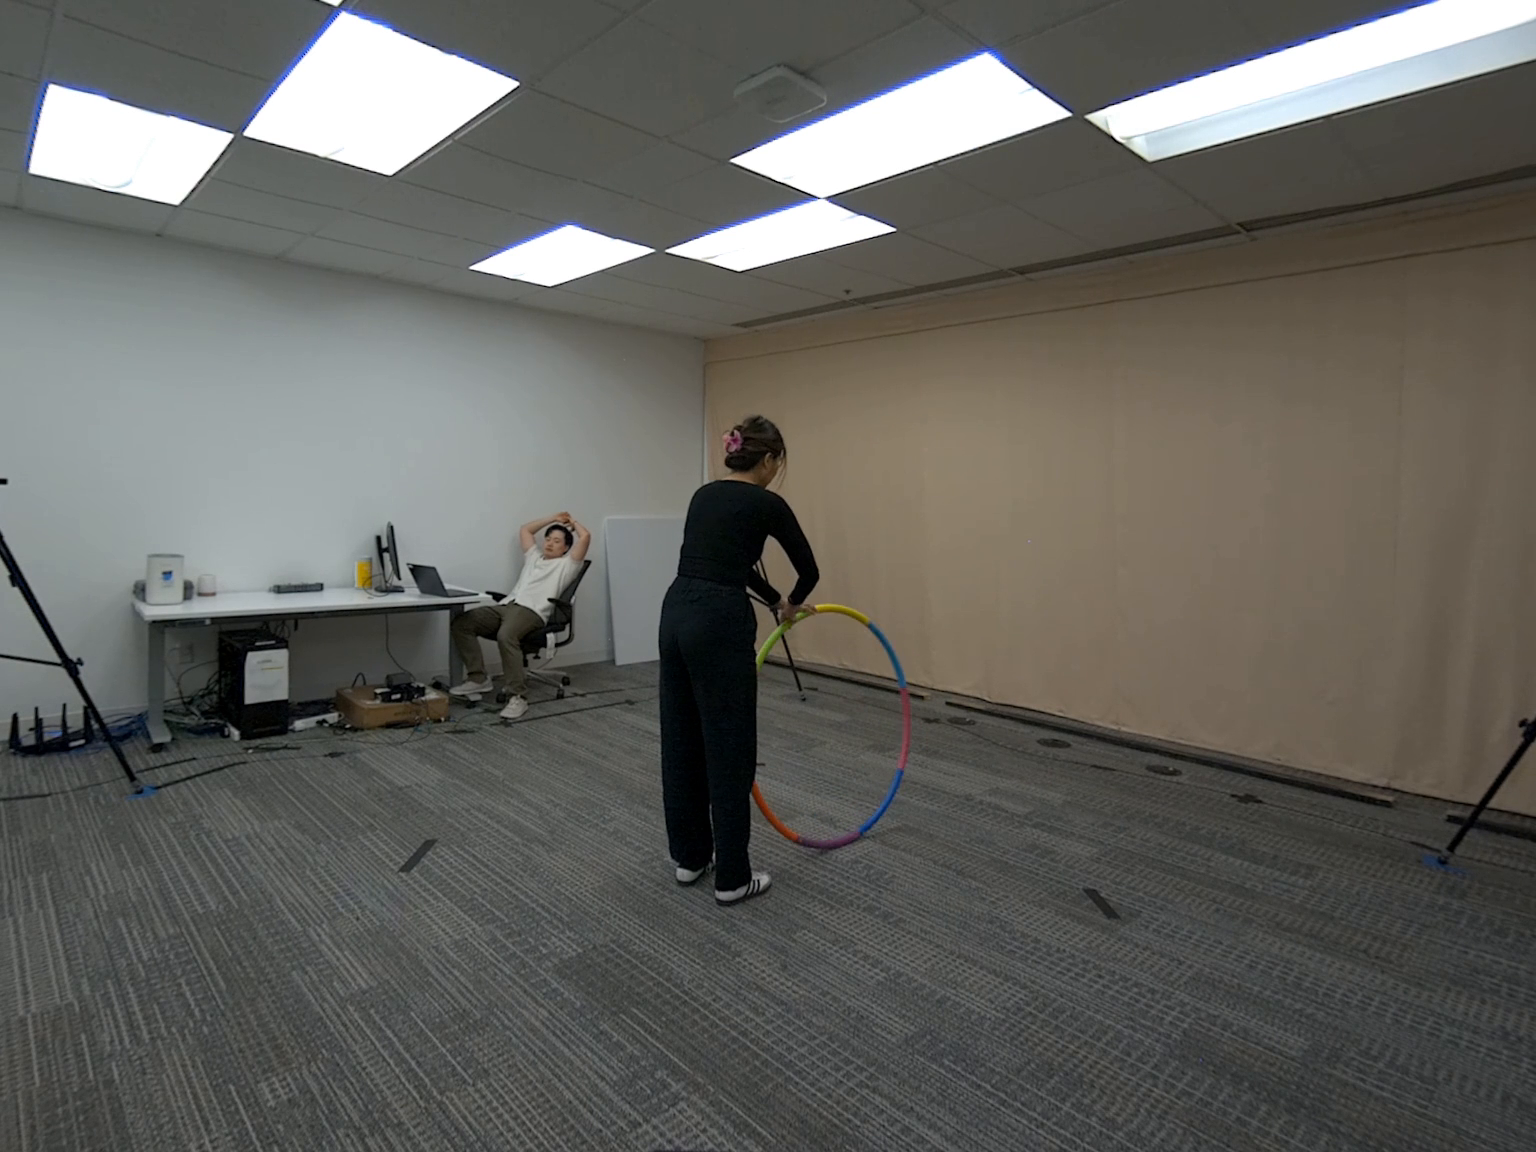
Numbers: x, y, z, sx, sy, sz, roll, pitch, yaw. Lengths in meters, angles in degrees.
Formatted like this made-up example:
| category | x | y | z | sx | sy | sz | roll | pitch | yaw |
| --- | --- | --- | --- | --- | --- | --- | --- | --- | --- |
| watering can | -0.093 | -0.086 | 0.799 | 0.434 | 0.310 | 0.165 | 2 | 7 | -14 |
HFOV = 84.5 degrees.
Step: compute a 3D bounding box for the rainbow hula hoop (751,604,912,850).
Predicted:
| category | x | y | z | sx | sy | sz | roll | pitch | yaw |
| --- | --- | --- | --- | --- | --- | --- | --- | --- | --- |
| rainbow hula hoop | 0.263 | 0.609 | 3.441 | 0.956 | 0.982 | 0.036 | -2 | -5 | -41 |
